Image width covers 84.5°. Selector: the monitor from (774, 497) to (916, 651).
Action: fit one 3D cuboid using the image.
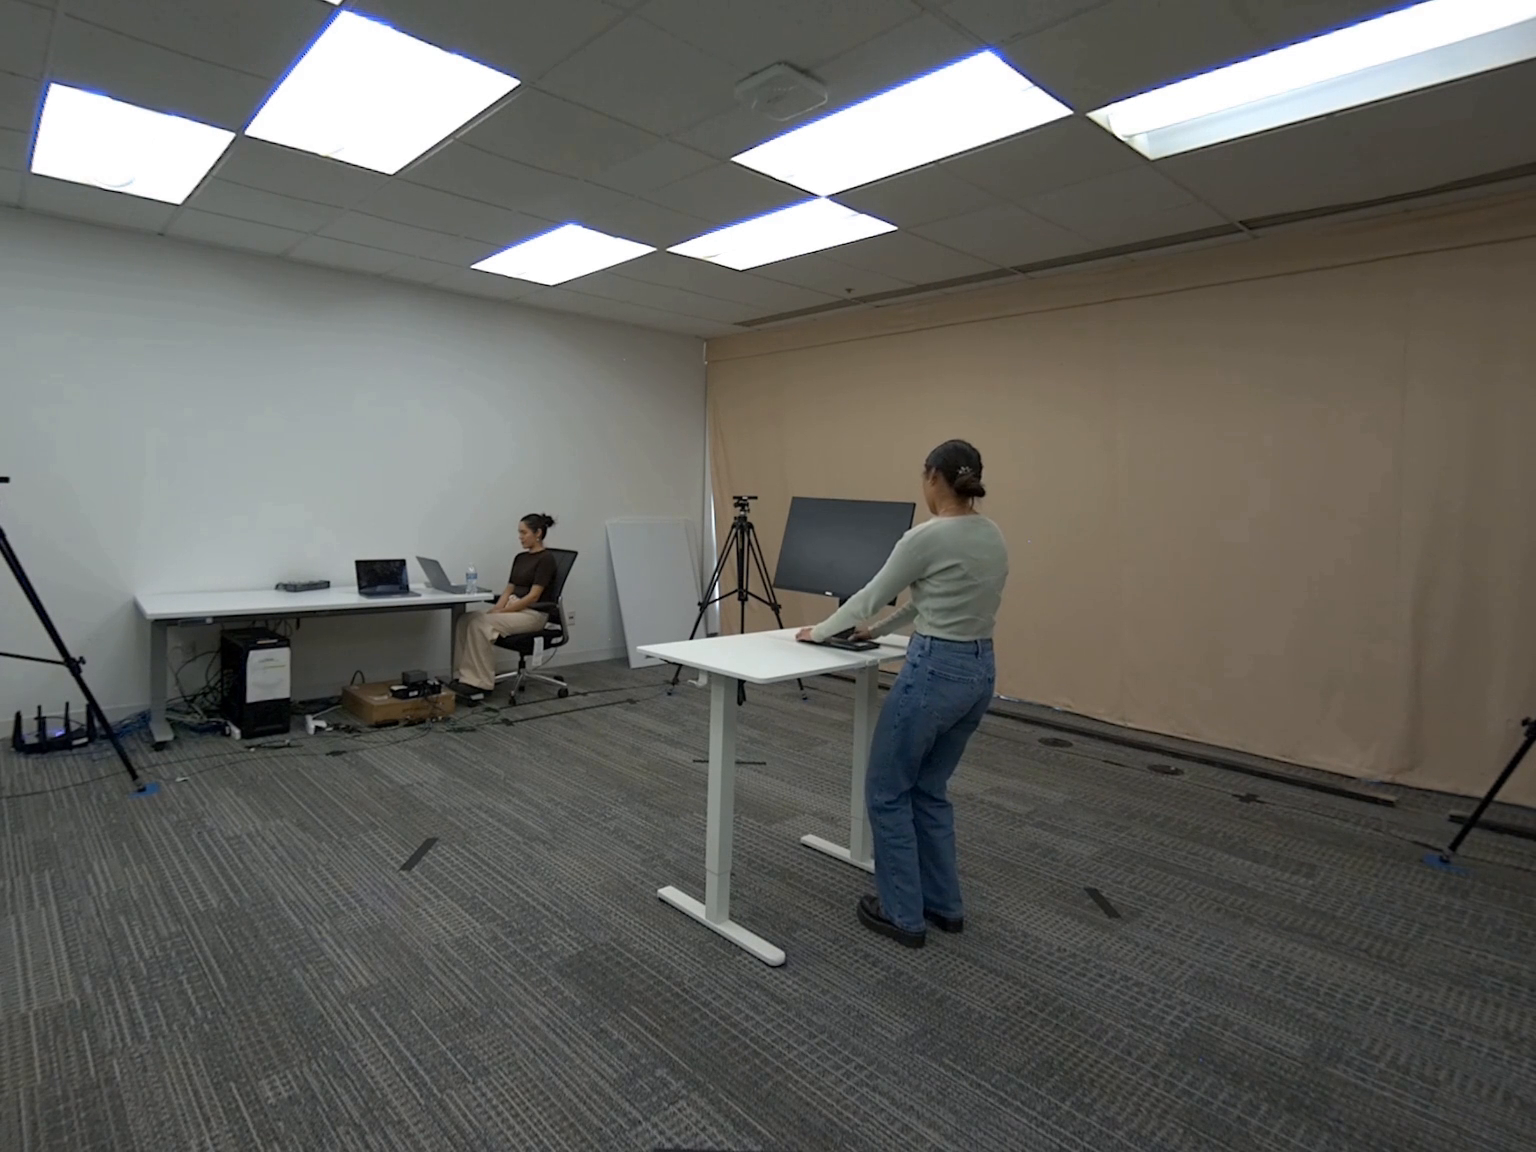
[{"bbox_3d":[0.258,-0.016,2.983,0.544,0.513,0.171,8,9,42],"label":"monitor"}]
